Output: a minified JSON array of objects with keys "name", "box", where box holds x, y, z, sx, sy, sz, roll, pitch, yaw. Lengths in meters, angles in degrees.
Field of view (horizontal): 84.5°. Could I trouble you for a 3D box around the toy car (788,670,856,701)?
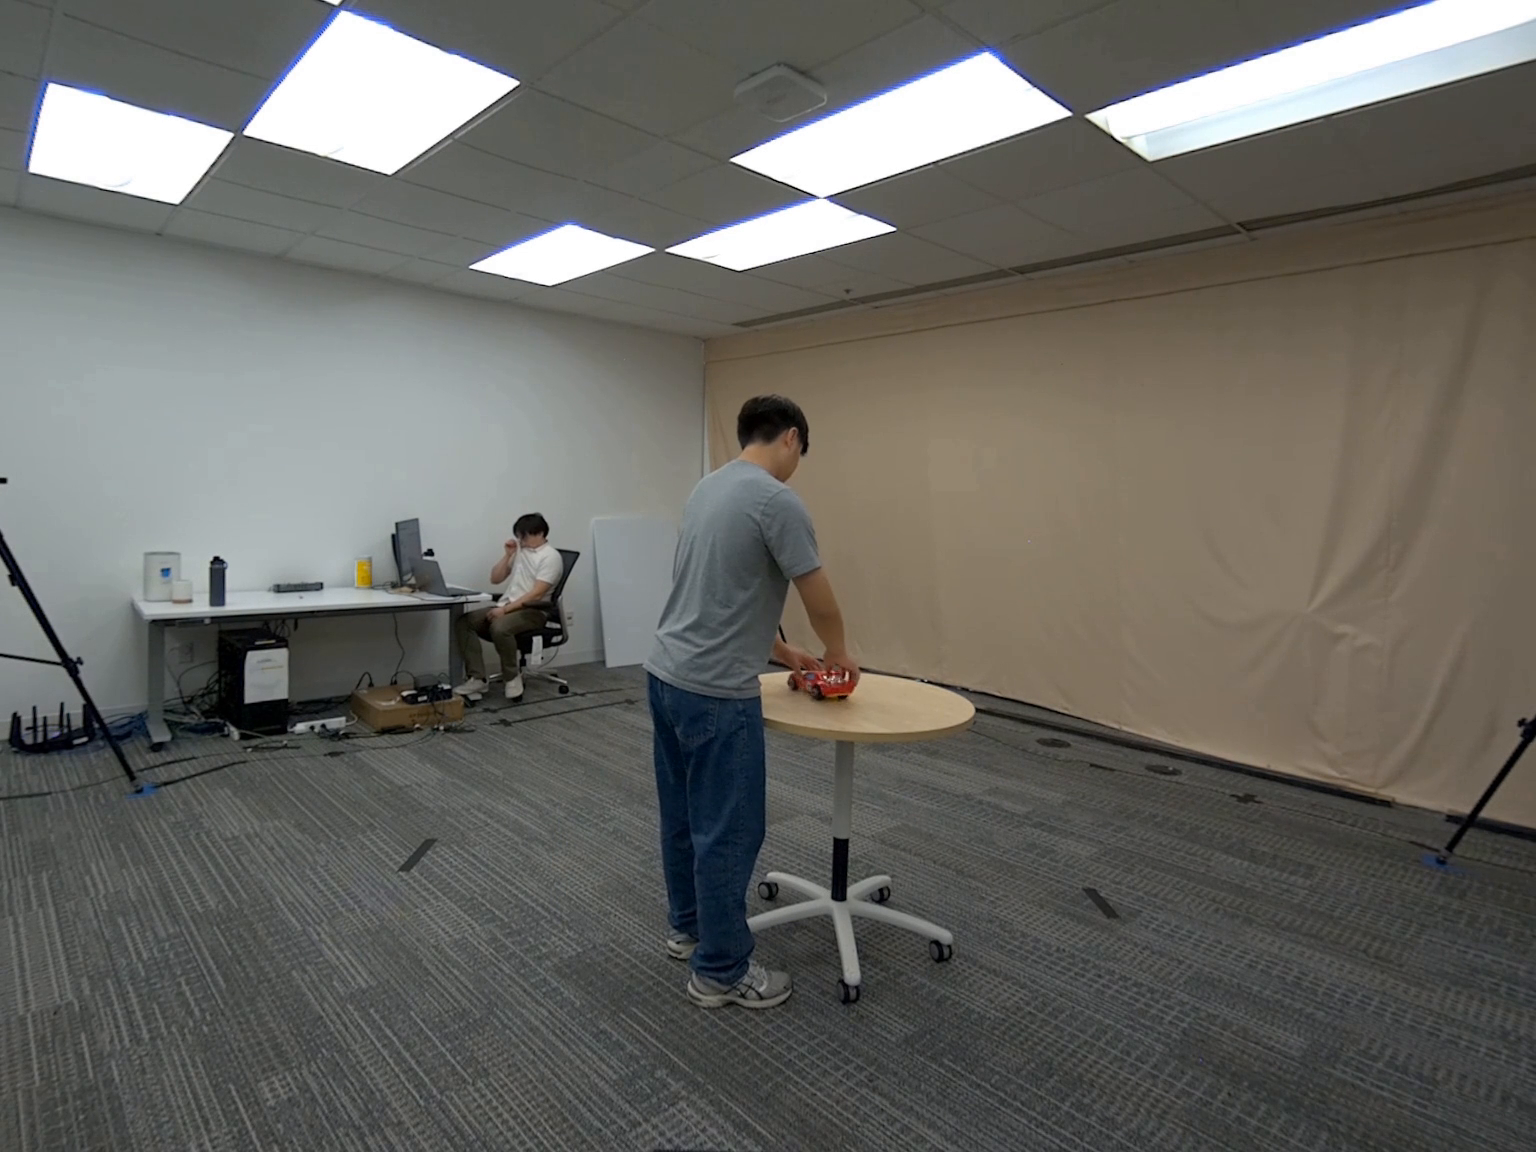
[{"name":"toy car","box":[0.167,0.346,2.618,0.128,0.083,0.258,1,-5,-27]}]
